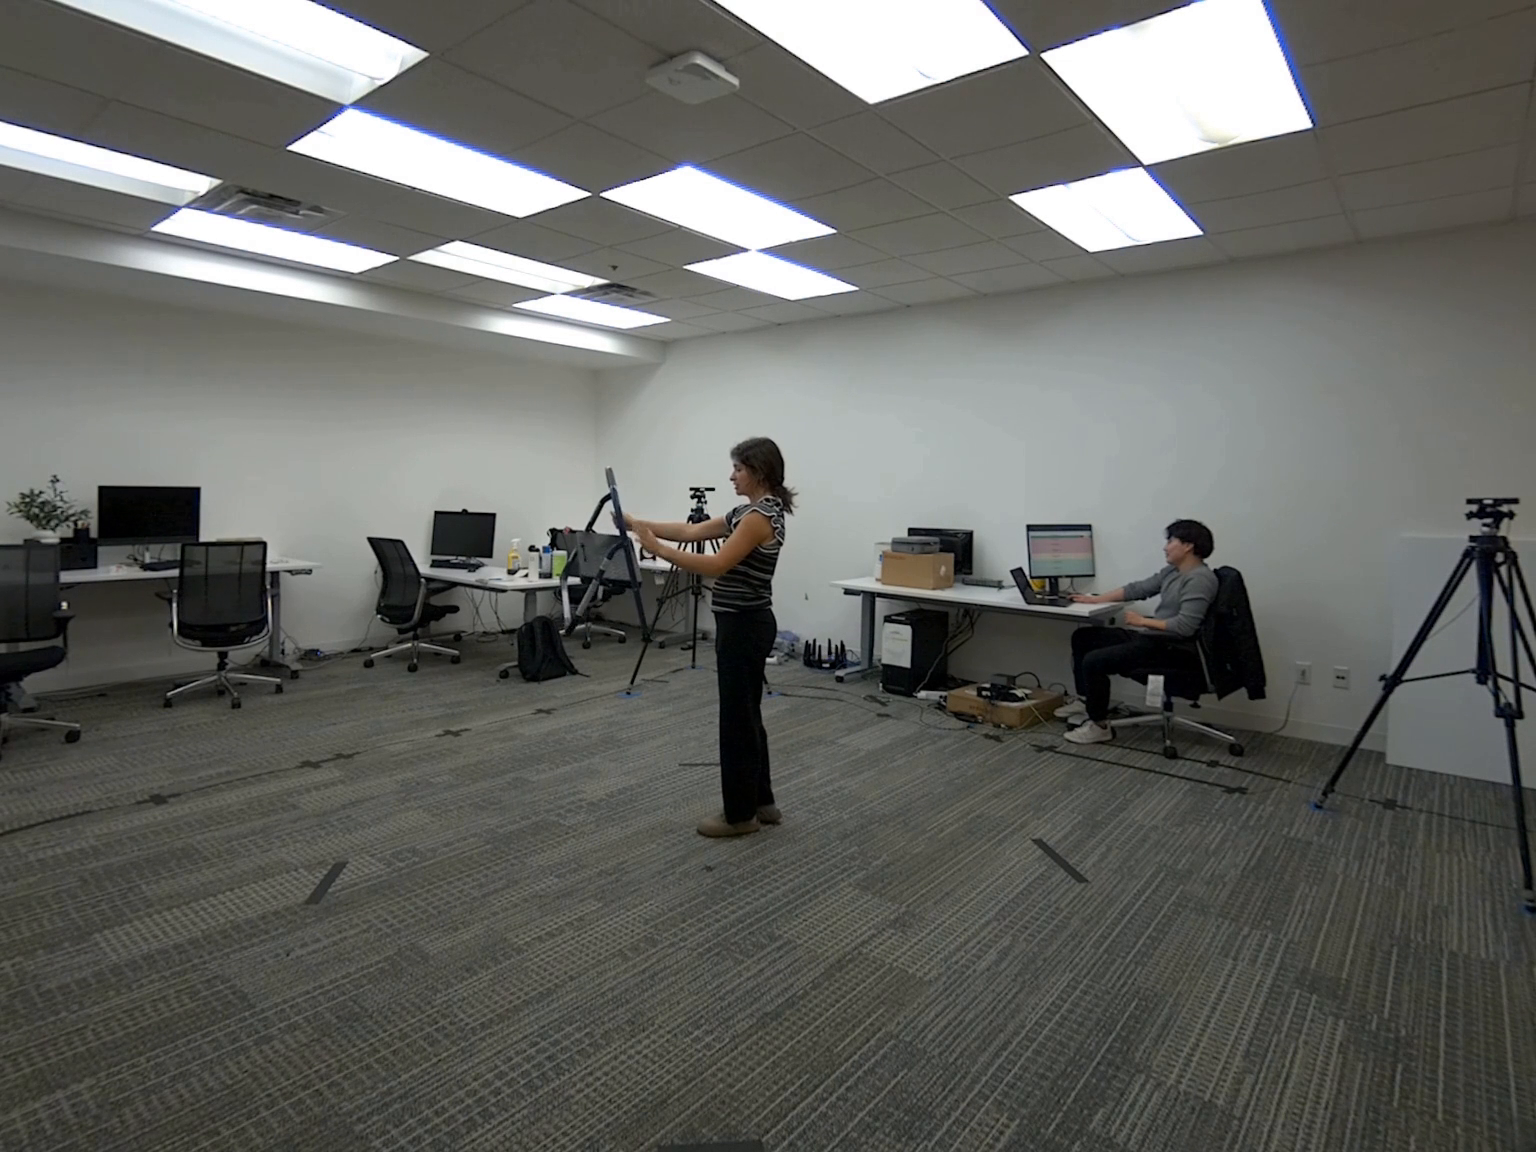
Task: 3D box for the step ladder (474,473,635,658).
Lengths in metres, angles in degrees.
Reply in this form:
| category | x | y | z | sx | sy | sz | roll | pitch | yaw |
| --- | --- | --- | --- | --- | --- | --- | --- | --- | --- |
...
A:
| category | x | y | z | sx | sy | sz | roll | pitch | yaw |
| --- | --- | --- | --- | --- | --- | --- | --- | --- | --- |
| step ladder | -0.950 | -0.045 | 3.683 | 0.345 | 0.439 | 0.602 | -33 | -18 | -47 |
